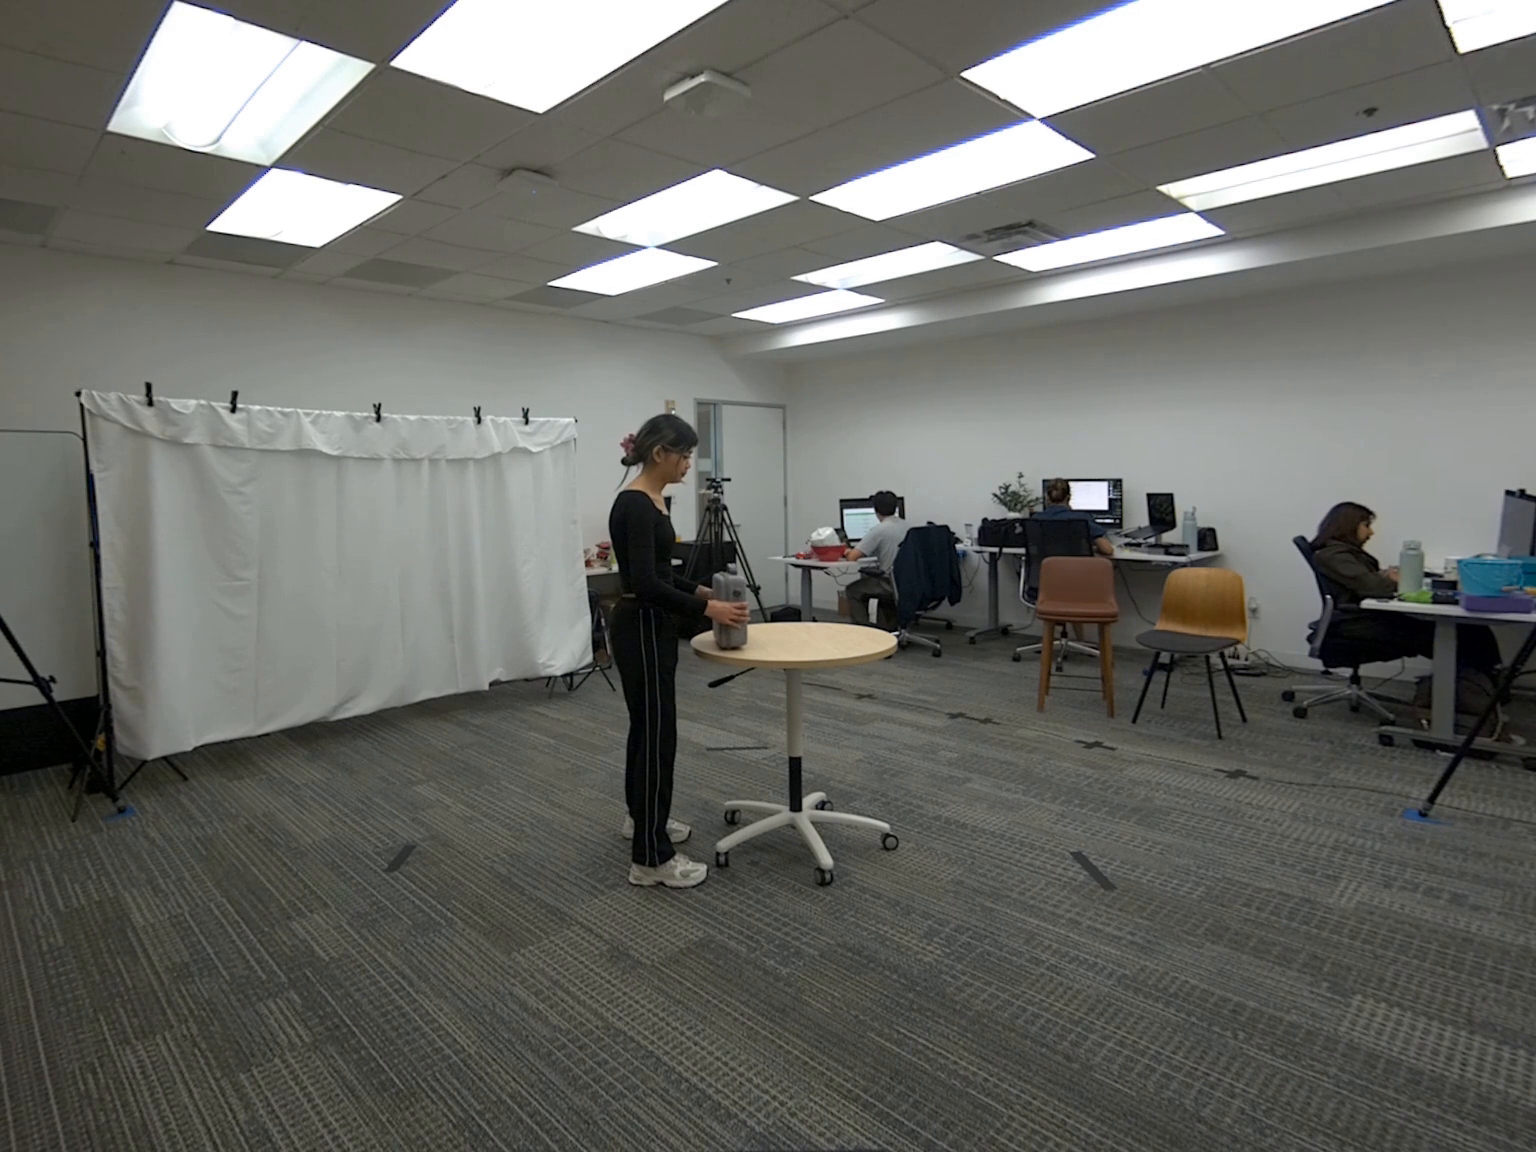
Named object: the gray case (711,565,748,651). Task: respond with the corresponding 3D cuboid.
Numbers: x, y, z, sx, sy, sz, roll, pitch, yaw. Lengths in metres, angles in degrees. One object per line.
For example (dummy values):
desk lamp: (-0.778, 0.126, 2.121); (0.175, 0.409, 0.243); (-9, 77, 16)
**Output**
gray case: (-0.142, 0.114, 3.108); (0.104, 0.260, 0.259); (1, 4, -7)
